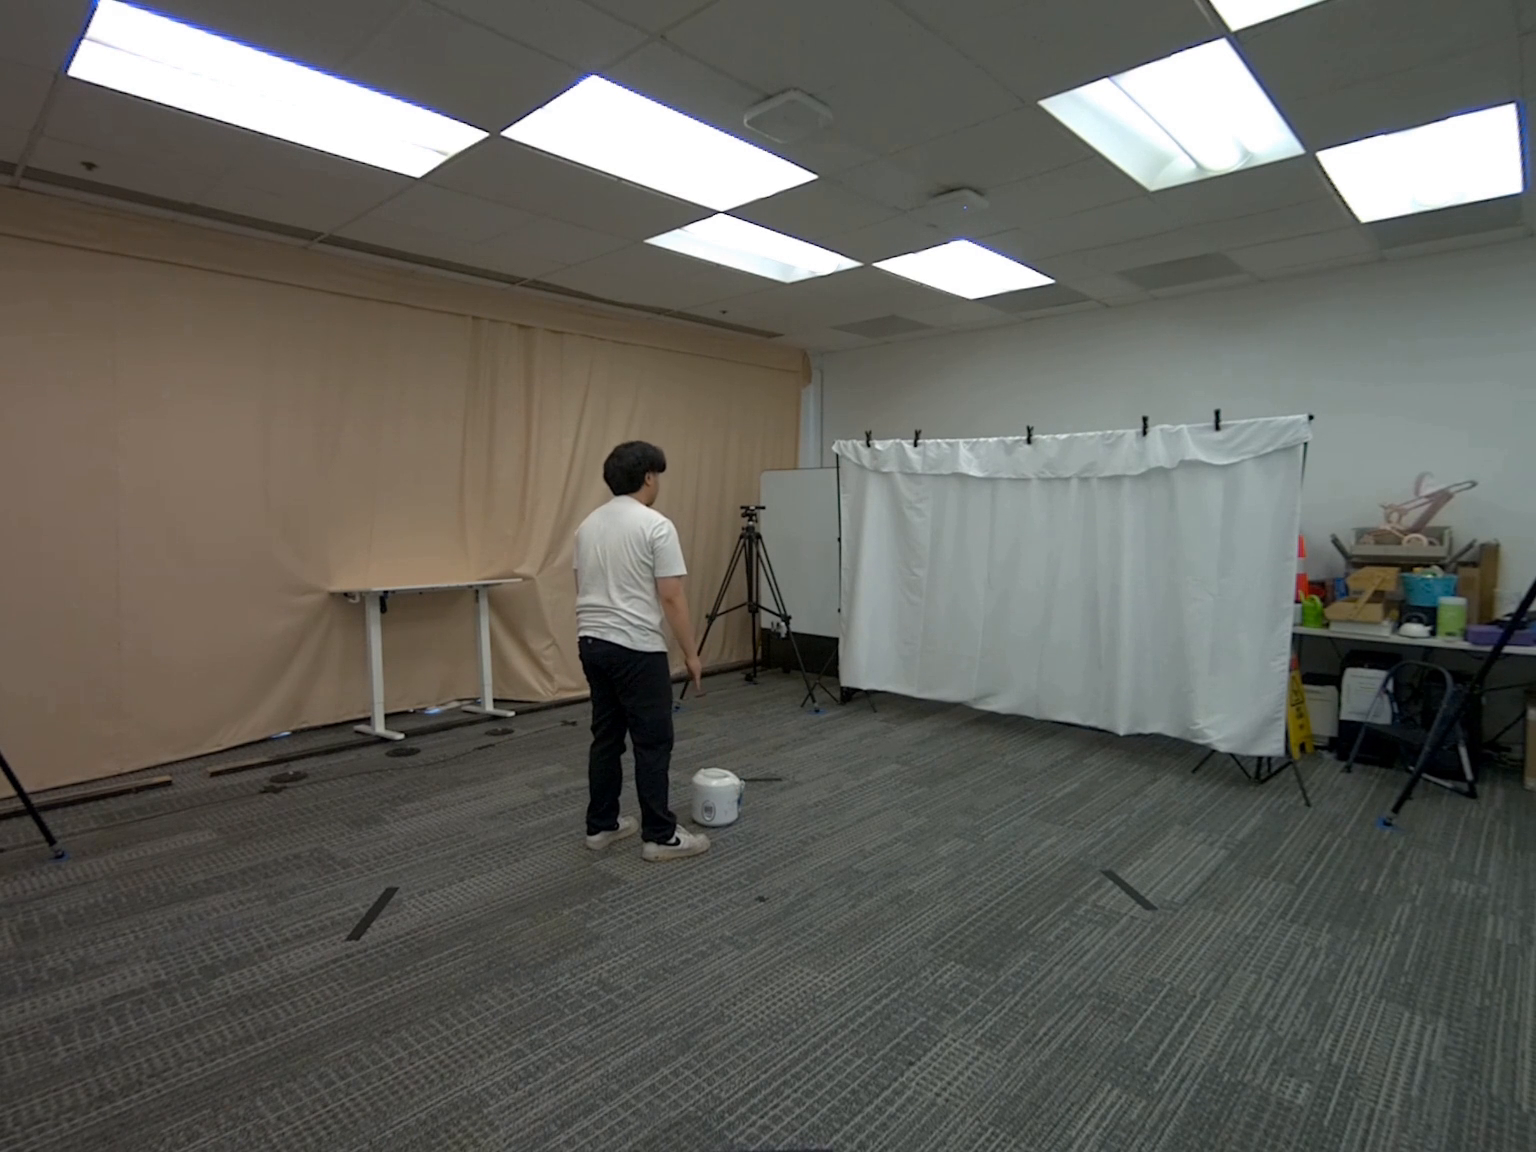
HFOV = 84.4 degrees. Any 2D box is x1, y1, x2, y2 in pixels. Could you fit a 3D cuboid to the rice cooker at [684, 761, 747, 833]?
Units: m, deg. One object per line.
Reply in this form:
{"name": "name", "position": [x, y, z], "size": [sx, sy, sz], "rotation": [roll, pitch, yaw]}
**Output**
{"name": "rice cooker", "position": [-0.230, 0.965, 3.728], "size": [0.224, 0.232, 0.214], "rotation": [0, 2, 13]}
